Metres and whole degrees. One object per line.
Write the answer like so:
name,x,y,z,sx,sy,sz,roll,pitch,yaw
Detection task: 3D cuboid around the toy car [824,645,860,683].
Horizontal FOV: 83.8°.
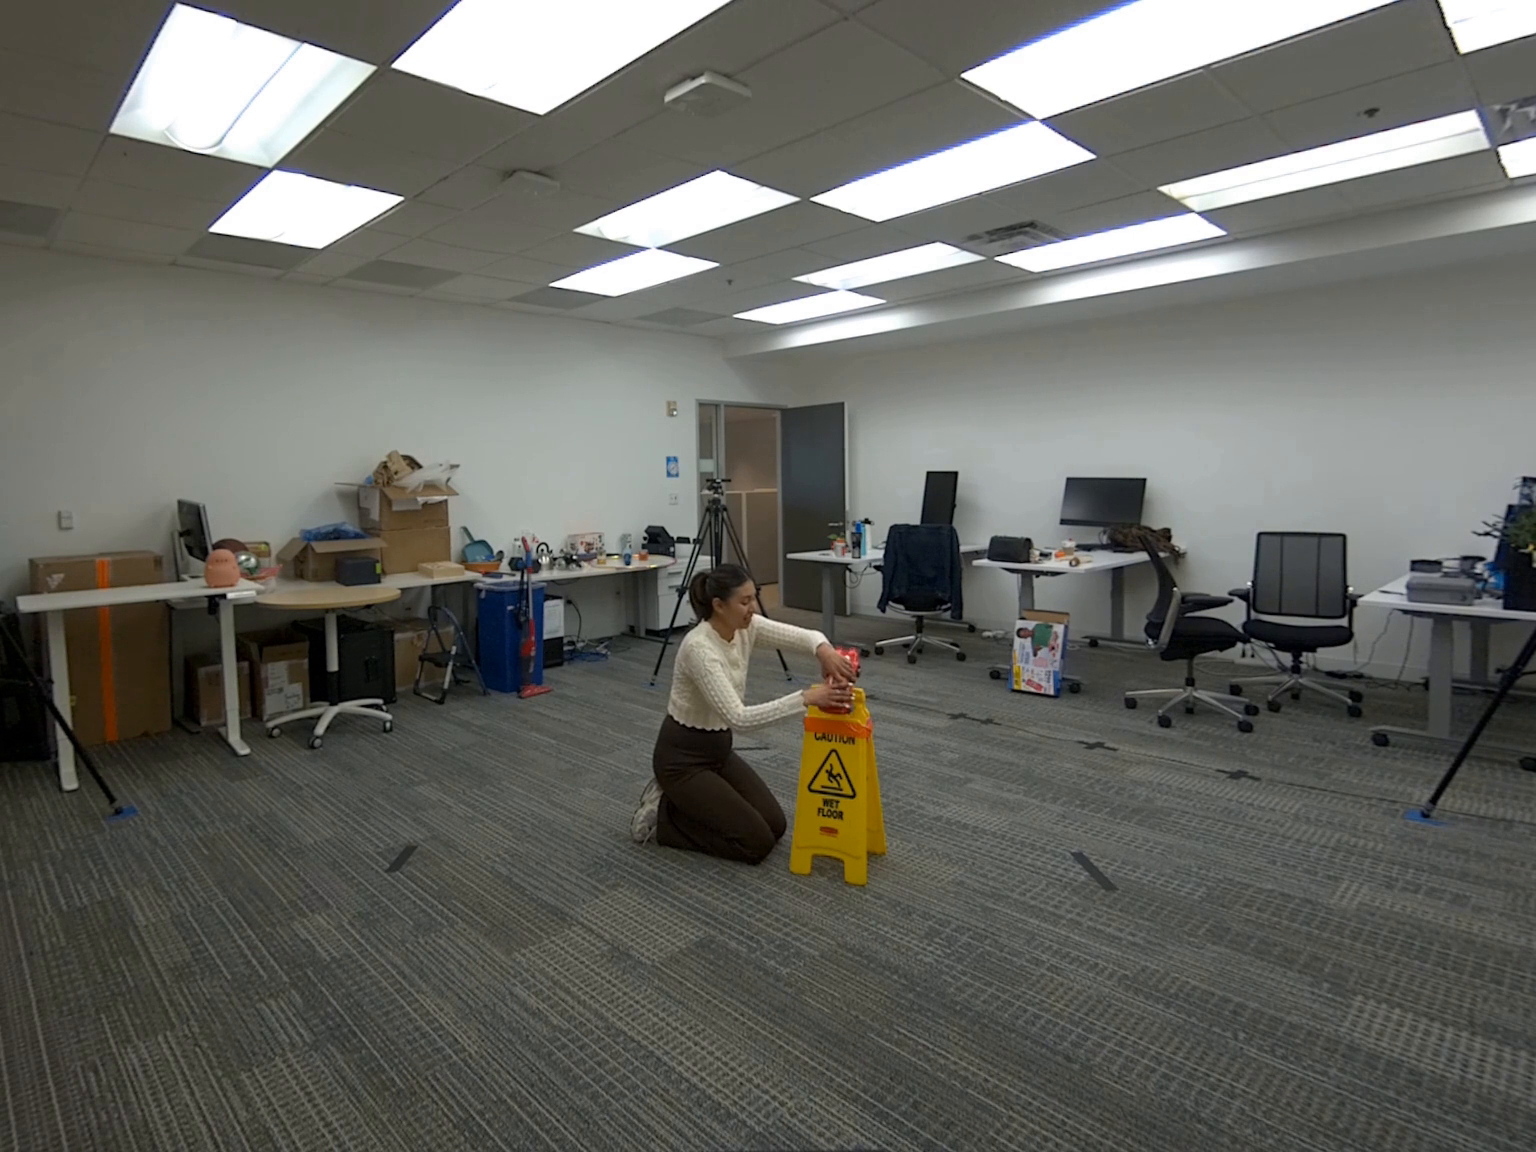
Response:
toy car,0.258,0.375,3.038,0.133,0.258,0.080,2,-23,25
